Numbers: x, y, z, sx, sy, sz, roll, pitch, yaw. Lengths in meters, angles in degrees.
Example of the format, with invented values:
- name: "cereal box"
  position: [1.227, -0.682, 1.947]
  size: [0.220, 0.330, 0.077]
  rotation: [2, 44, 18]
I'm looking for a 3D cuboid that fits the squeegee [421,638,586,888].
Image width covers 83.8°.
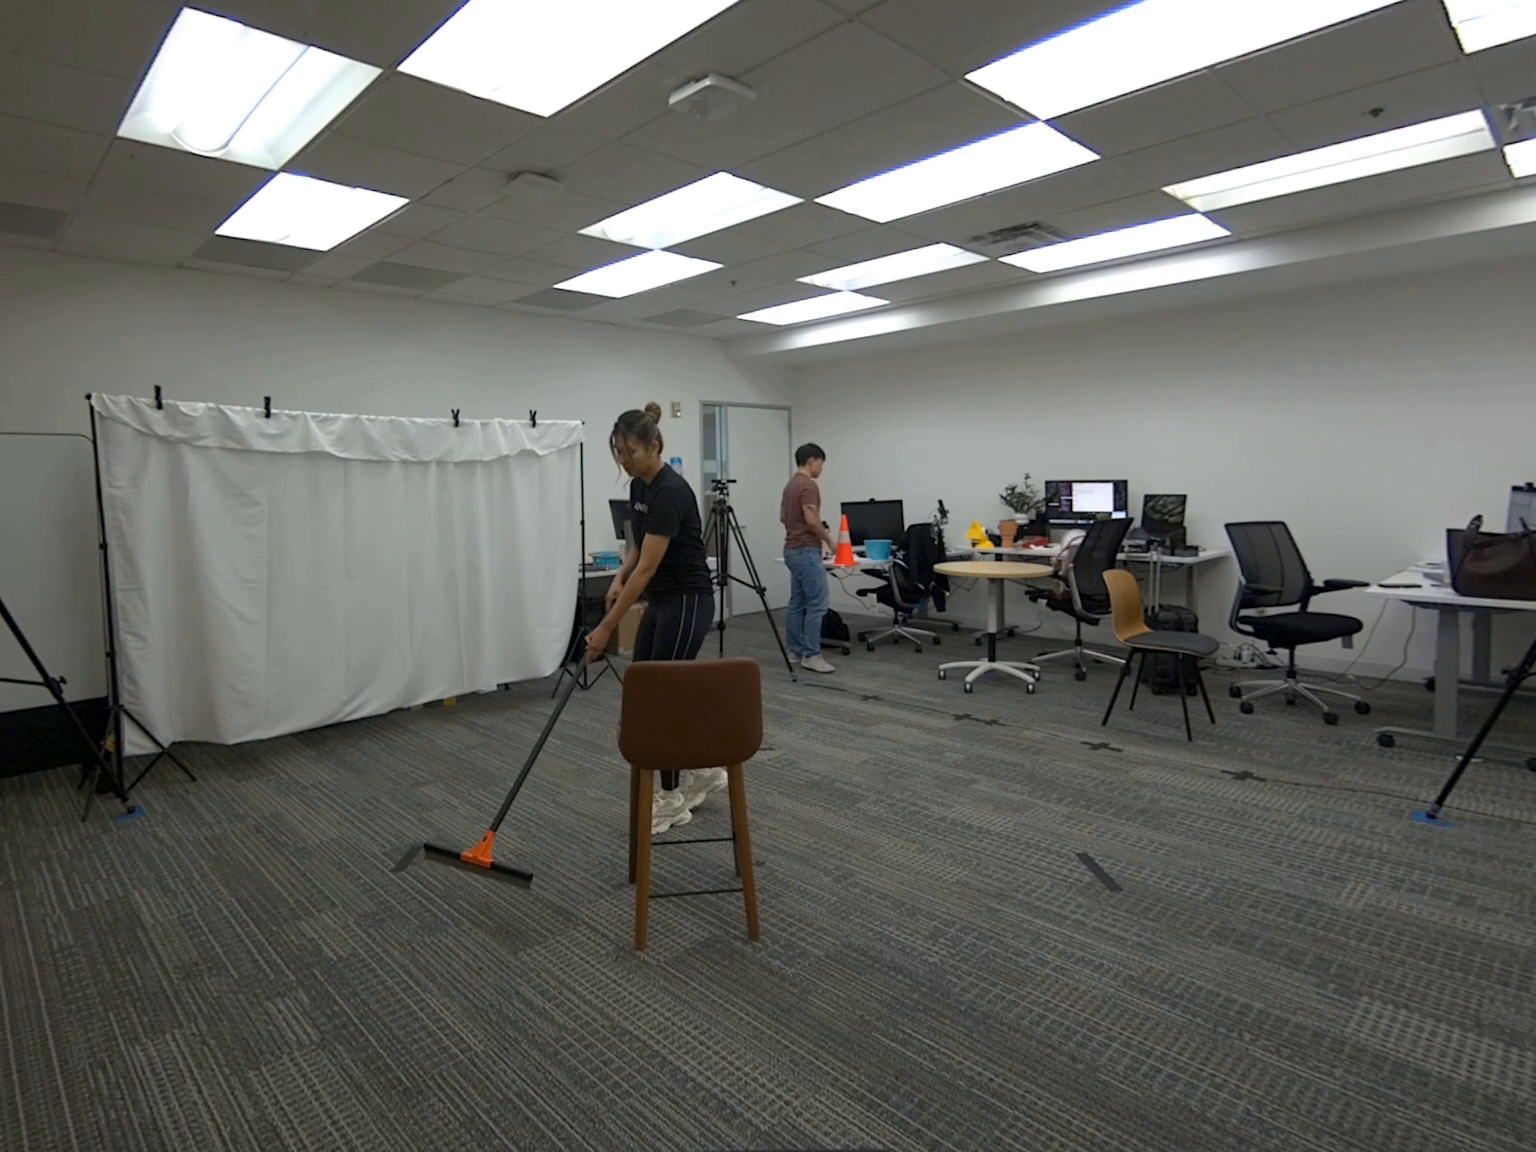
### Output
- name: "squeegee"
  position: [-0.711, 0.374, 3.165]
  size: [0.447, 0.051, 1.557]
  rotation: [3, 47, 23]
